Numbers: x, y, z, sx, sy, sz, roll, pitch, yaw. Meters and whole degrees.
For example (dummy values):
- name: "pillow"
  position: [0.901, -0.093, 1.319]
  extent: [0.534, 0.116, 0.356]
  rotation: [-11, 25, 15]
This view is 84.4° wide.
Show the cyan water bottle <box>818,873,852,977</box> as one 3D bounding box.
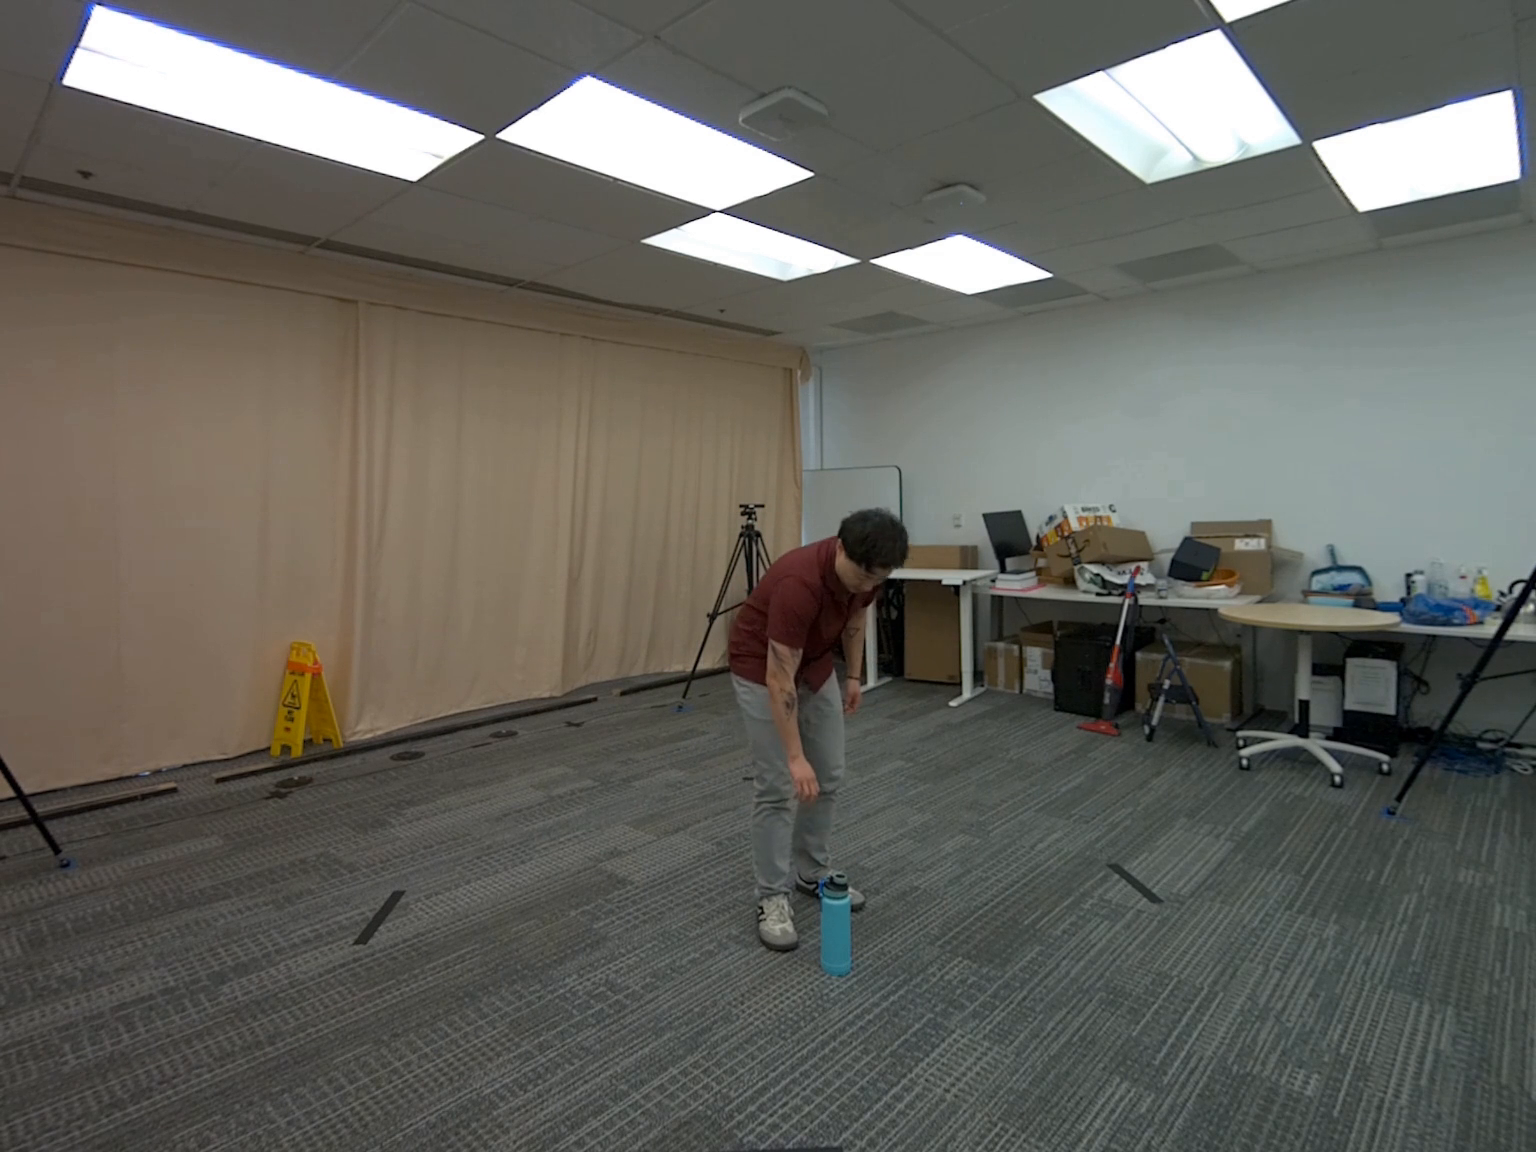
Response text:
- name: "cyan water bottle"
  position: [0.205, 1.032, 2.520]
  extent: [0.092, 0.283, 0.092]
  rotation: [-1, 2, -2]
